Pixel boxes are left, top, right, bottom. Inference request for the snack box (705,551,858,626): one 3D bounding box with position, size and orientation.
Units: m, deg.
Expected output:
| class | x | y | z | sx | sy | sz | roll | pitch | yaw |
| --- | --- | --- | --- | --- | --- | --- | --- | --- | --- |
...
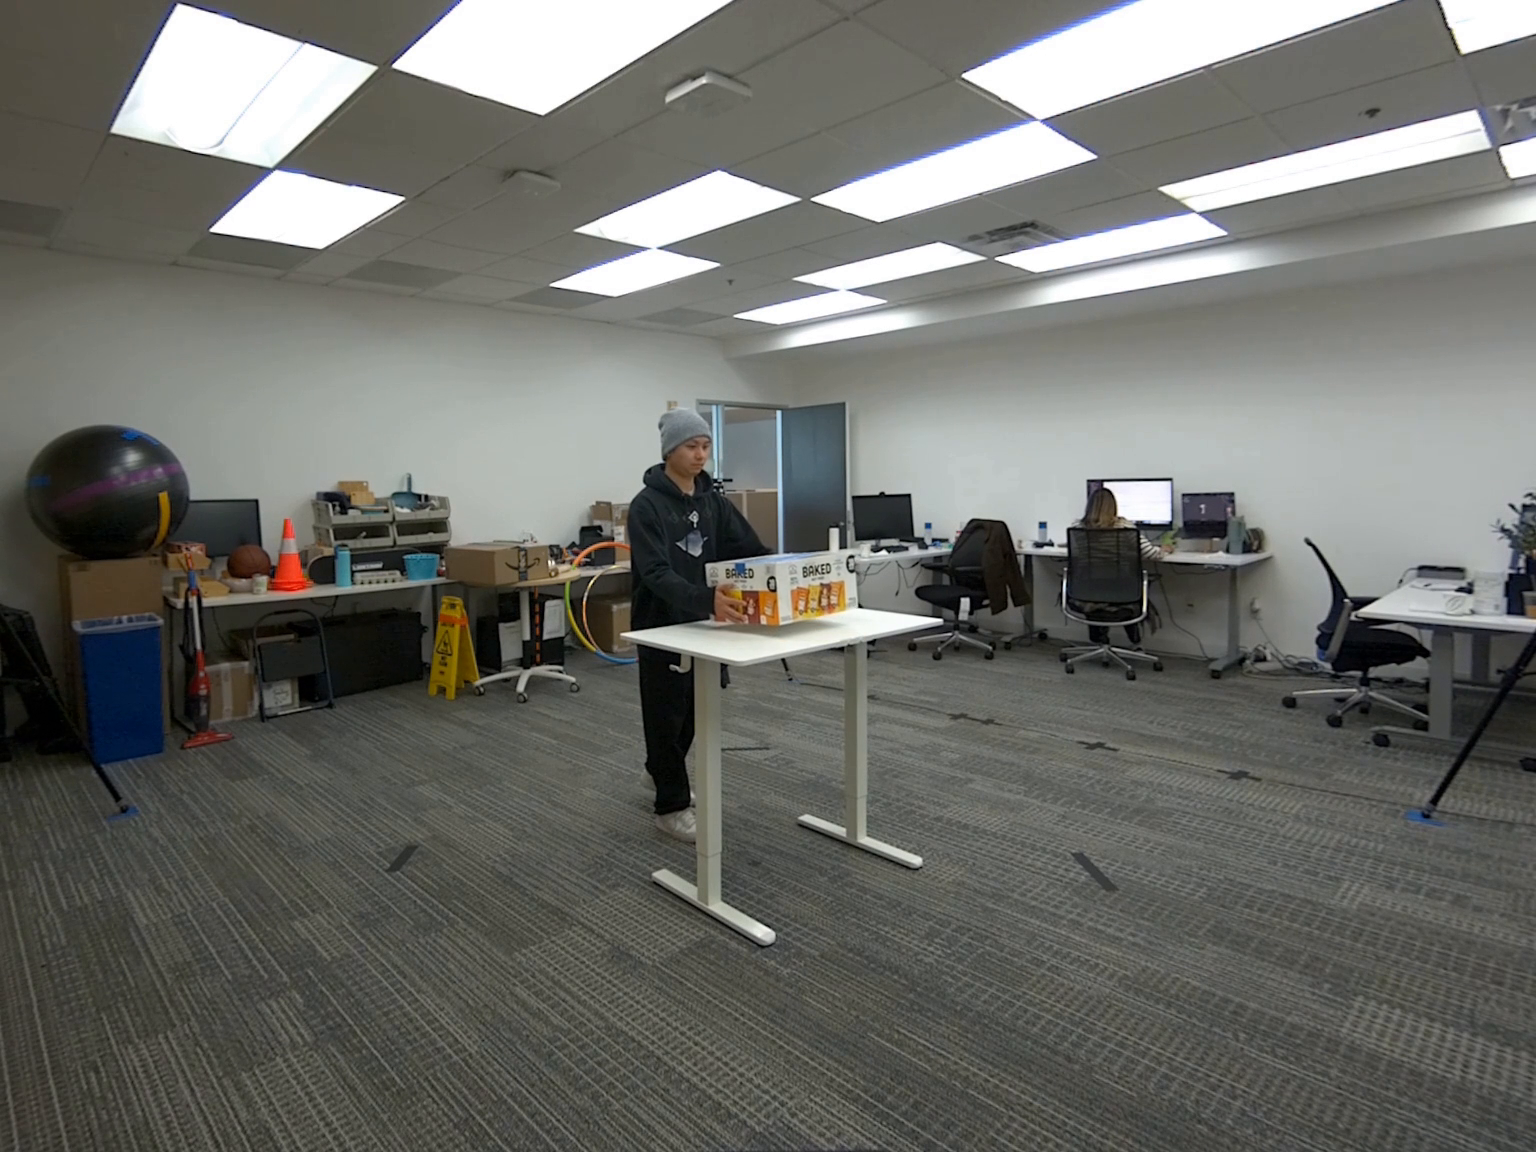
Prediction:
| class | x | y | z | sx | sy | sz | roll | pitch | yaw |
| --- | --- | --- | --- | --- | --- | --- | --- | --- | --- |
| snack box | 0.050 | 0.037 | 2.977 | 0.350 | 0.205 | 0.395 | 0 | 5 | 45 |
